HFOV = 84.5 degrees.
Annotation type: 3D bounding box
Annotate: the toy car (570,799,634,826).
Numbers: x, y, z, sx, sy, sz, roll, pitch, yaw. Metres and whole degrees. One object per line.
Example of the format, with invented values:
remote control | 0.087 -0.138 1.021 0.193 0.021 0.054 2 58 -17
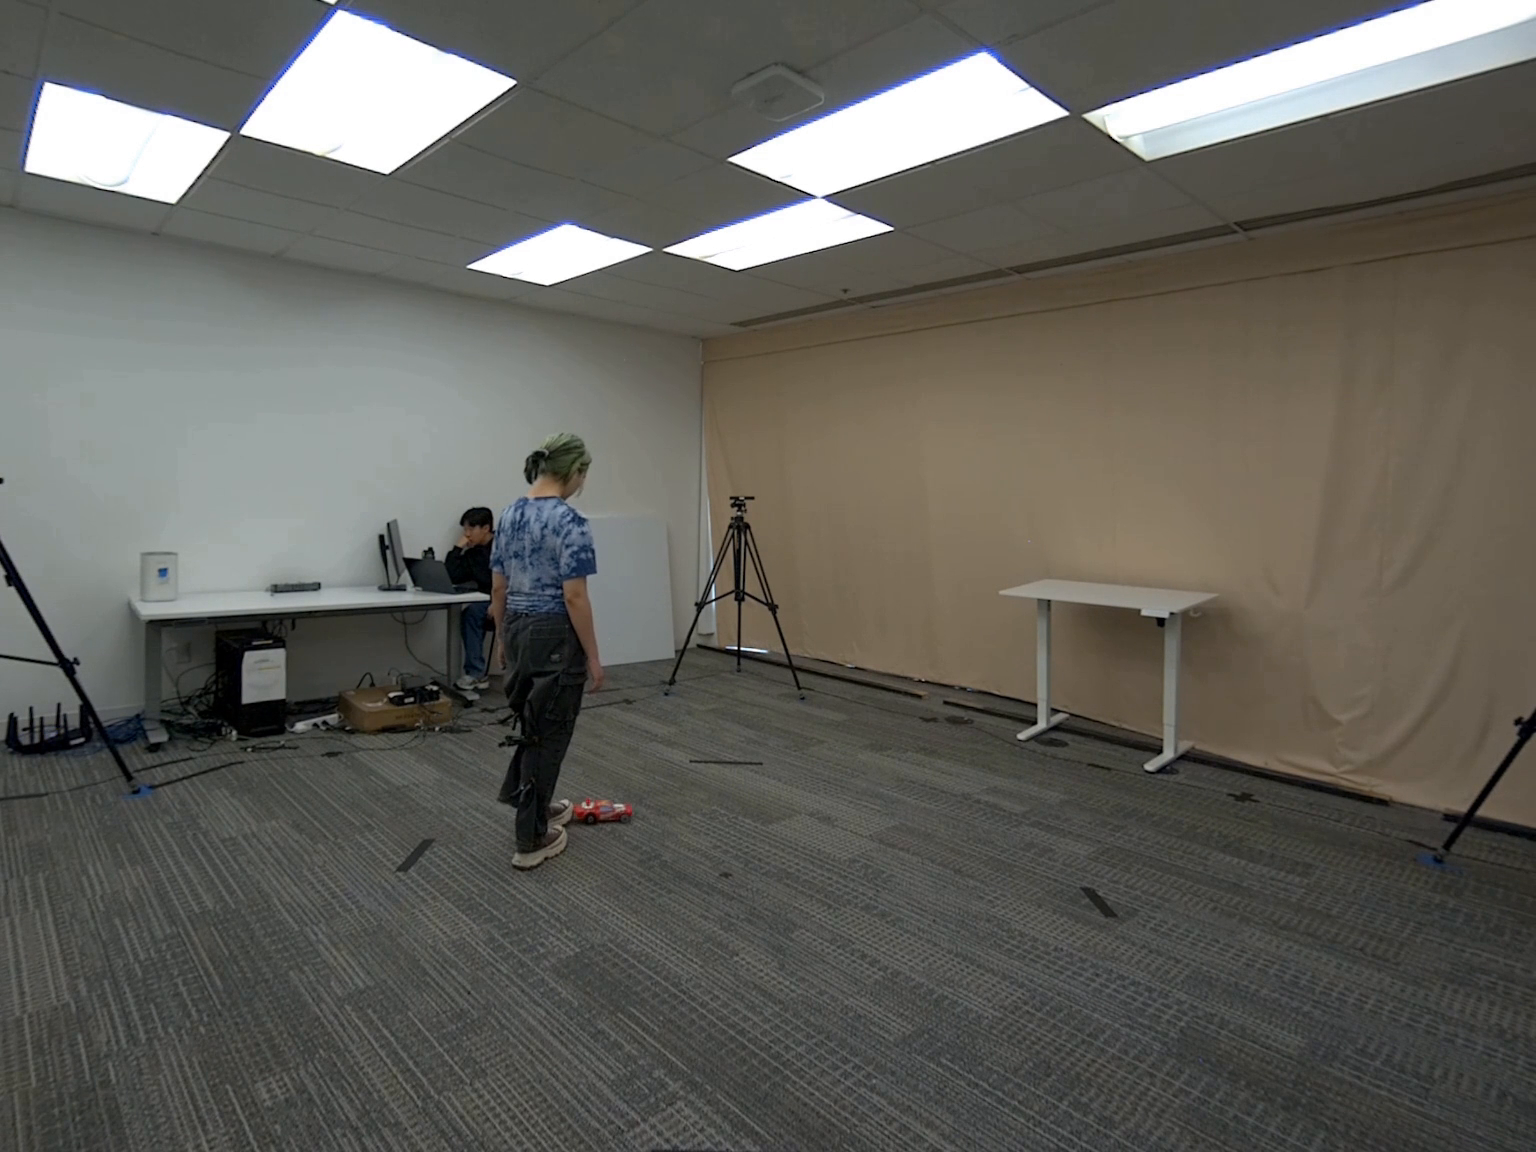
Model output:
toy car | -0.727 1.013 3.607 0.252 0.083 0.132 13 0 -12
